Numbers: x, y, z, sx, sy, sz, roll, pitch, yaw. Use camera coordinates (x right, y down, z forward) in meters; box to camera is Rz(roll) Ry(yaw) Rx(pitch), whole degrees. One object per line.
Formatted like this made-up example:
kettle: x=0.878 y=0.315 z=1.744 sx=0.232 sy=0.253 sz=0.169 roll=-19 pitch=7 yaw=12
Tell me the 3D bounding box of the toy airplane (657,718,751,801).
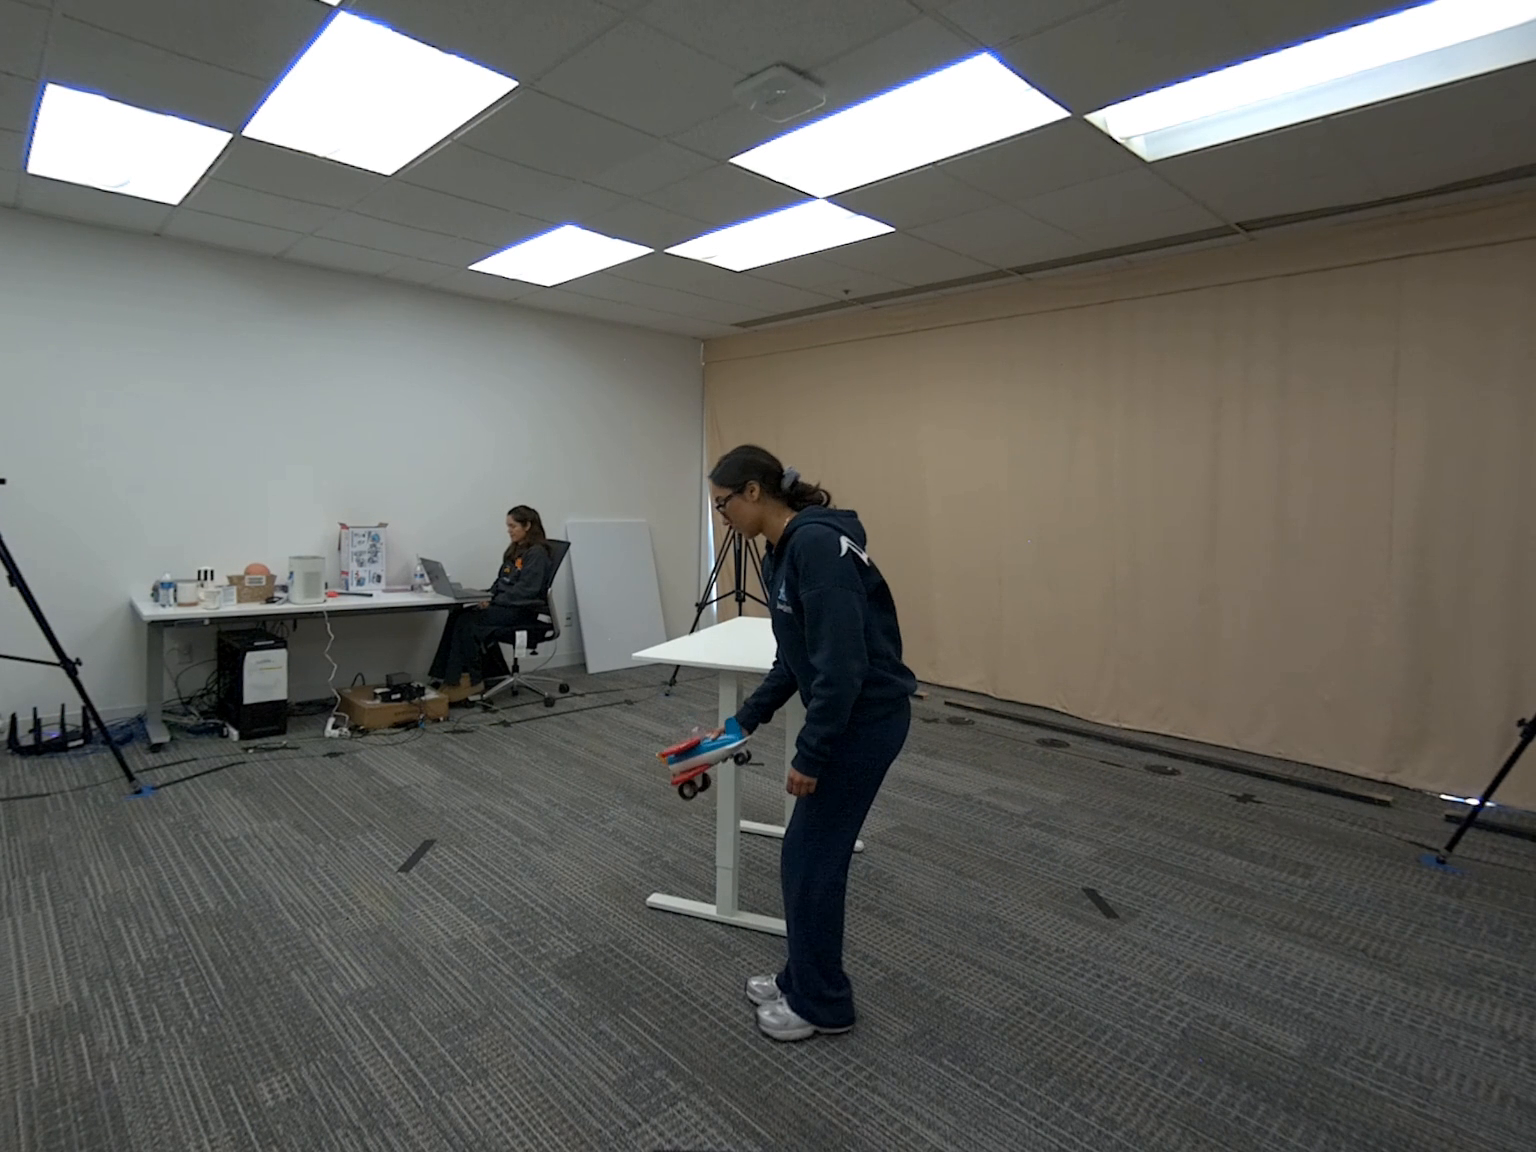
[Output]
toy airplane: x=-0.166 y=0.513 z=2.400 sx=0.258 sy=0.158 sz=0.249 roll=-34 pitch=-10 yaw=-10
